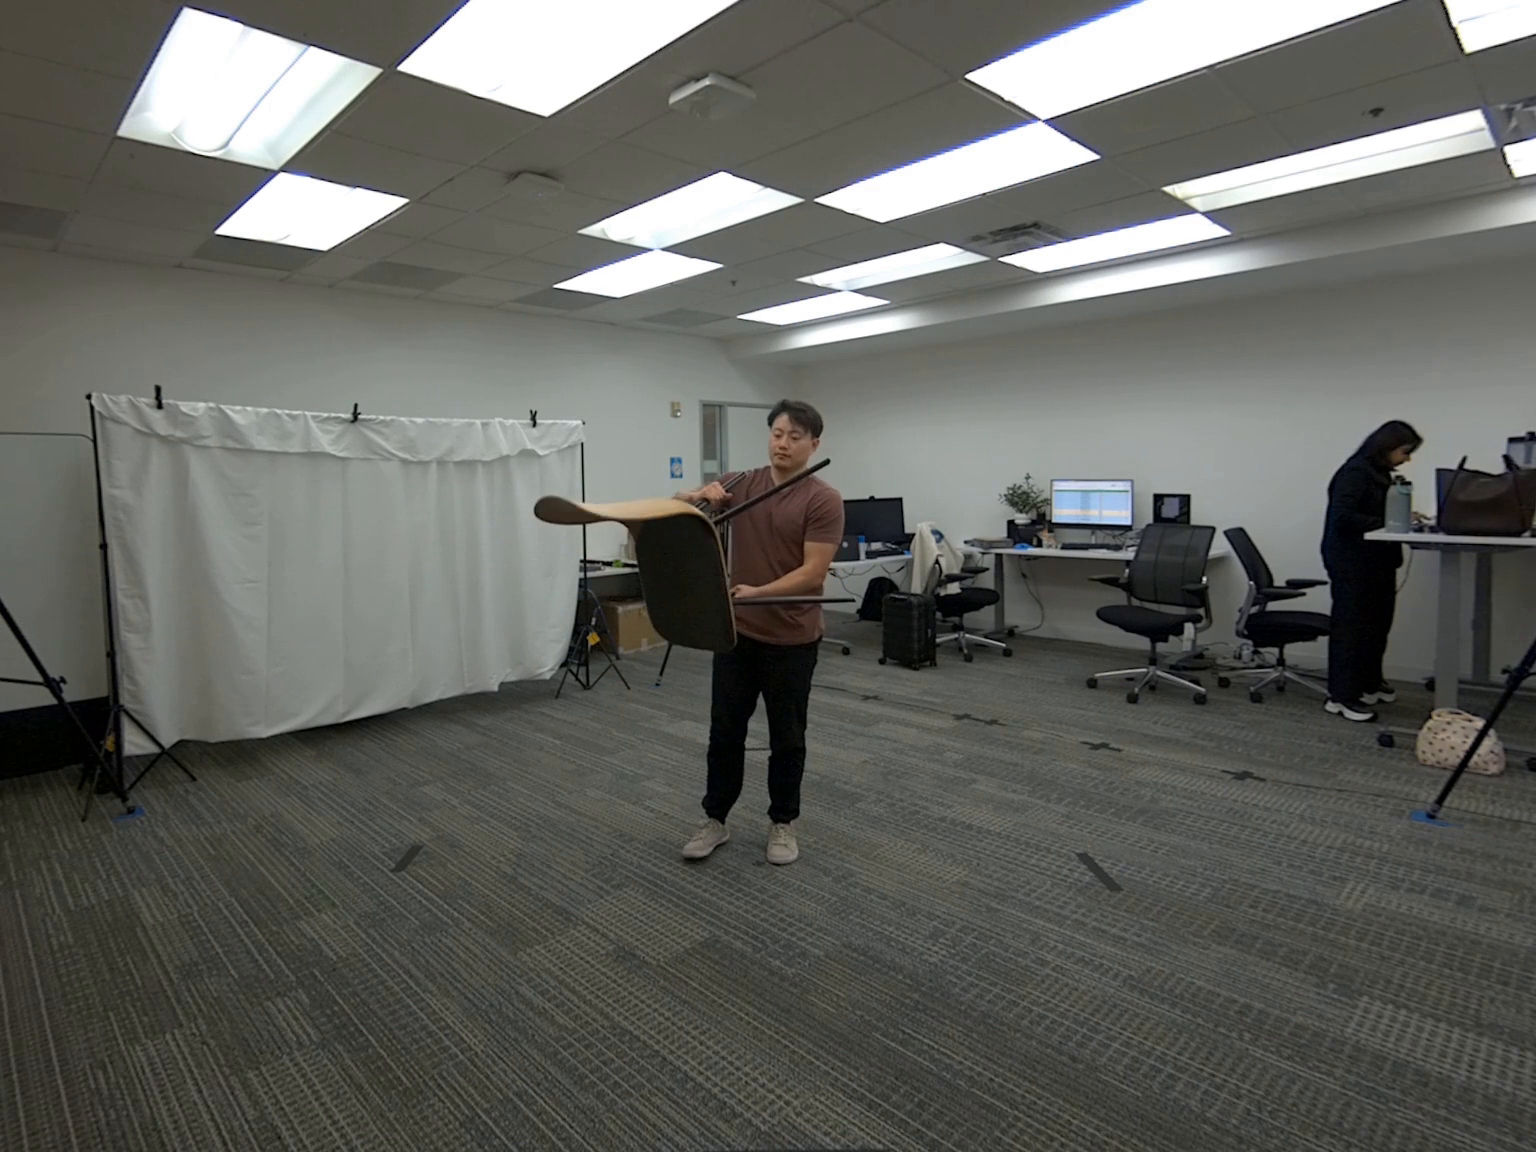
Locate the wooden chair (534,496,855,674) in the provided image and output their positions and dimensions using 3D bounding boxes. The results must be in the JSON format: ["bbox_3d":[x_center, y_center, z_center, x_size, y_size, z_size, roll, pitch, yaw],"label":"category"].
[{"bbox_3d":[-0.232,-0.027,2.600,0.858,0.521,0.491,-12,7,-36],"label":"wooden chair"}]
